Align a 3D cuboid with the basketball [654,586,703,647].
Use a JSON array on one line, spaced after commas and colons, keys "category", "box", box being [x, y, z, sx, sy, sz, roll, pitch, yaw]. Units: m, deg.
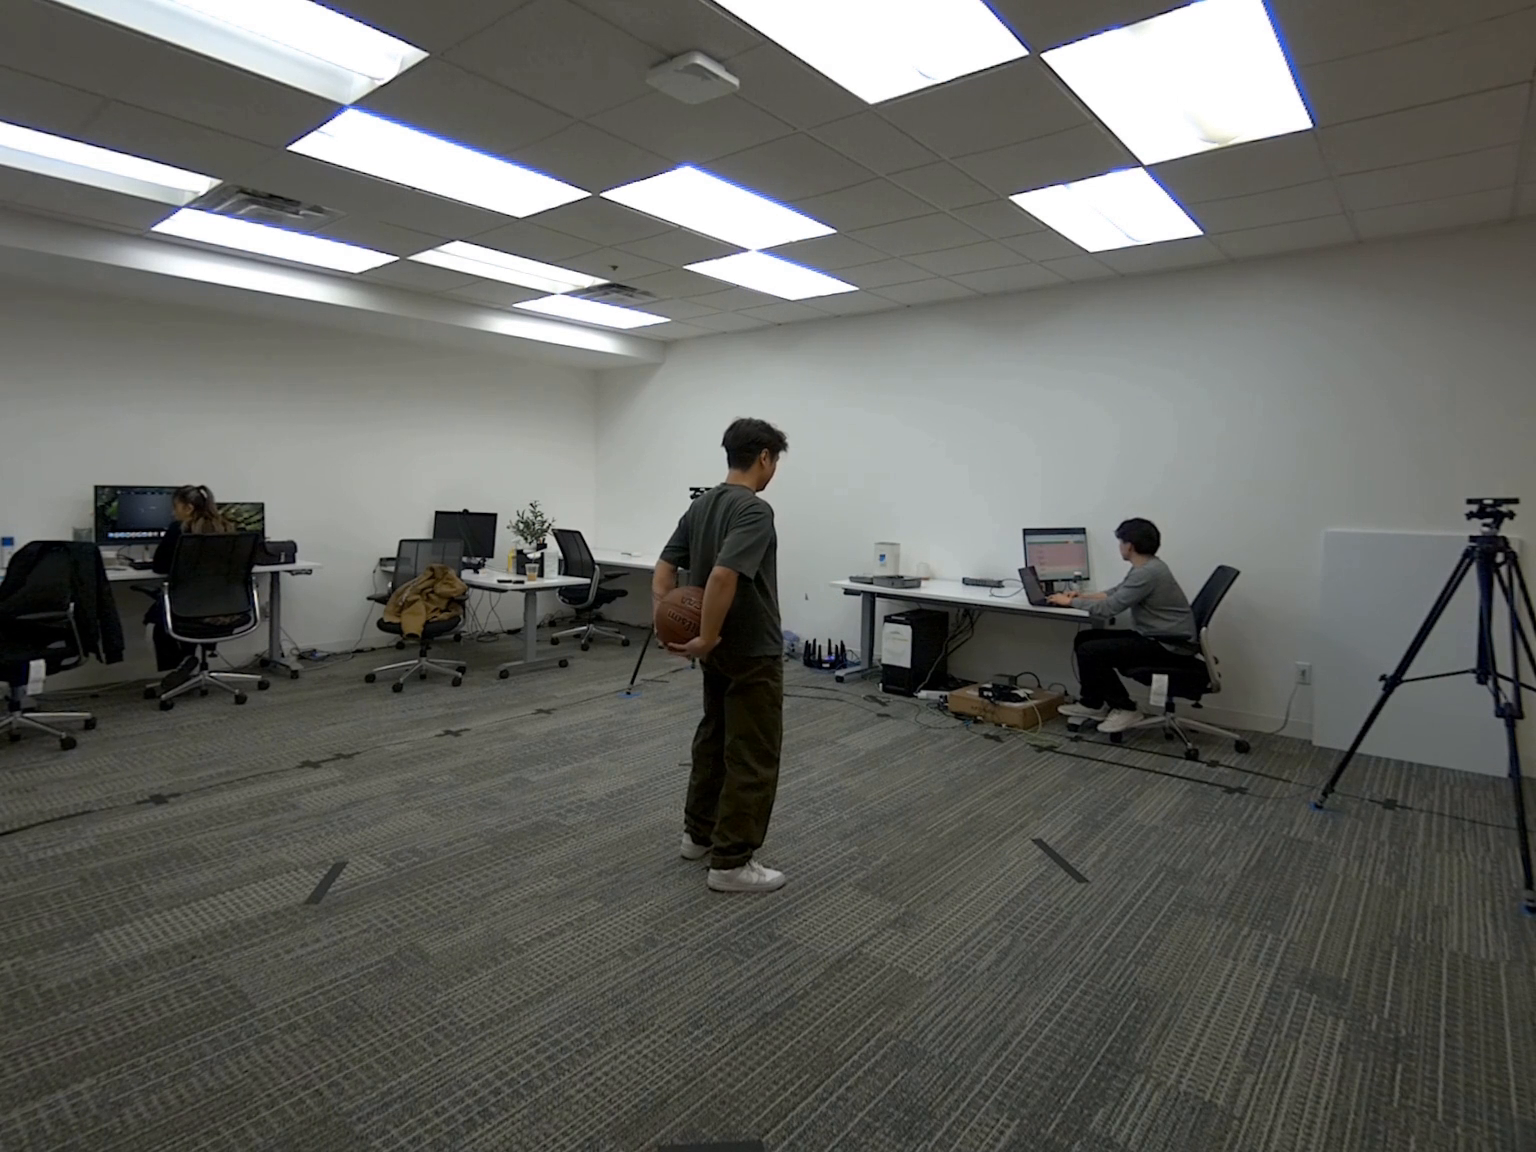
[{"category": "basketball", "box": [-0.282, 0.146, 2.975, 0.235, 0.235, 0.237, 1, 4, -2]}]
